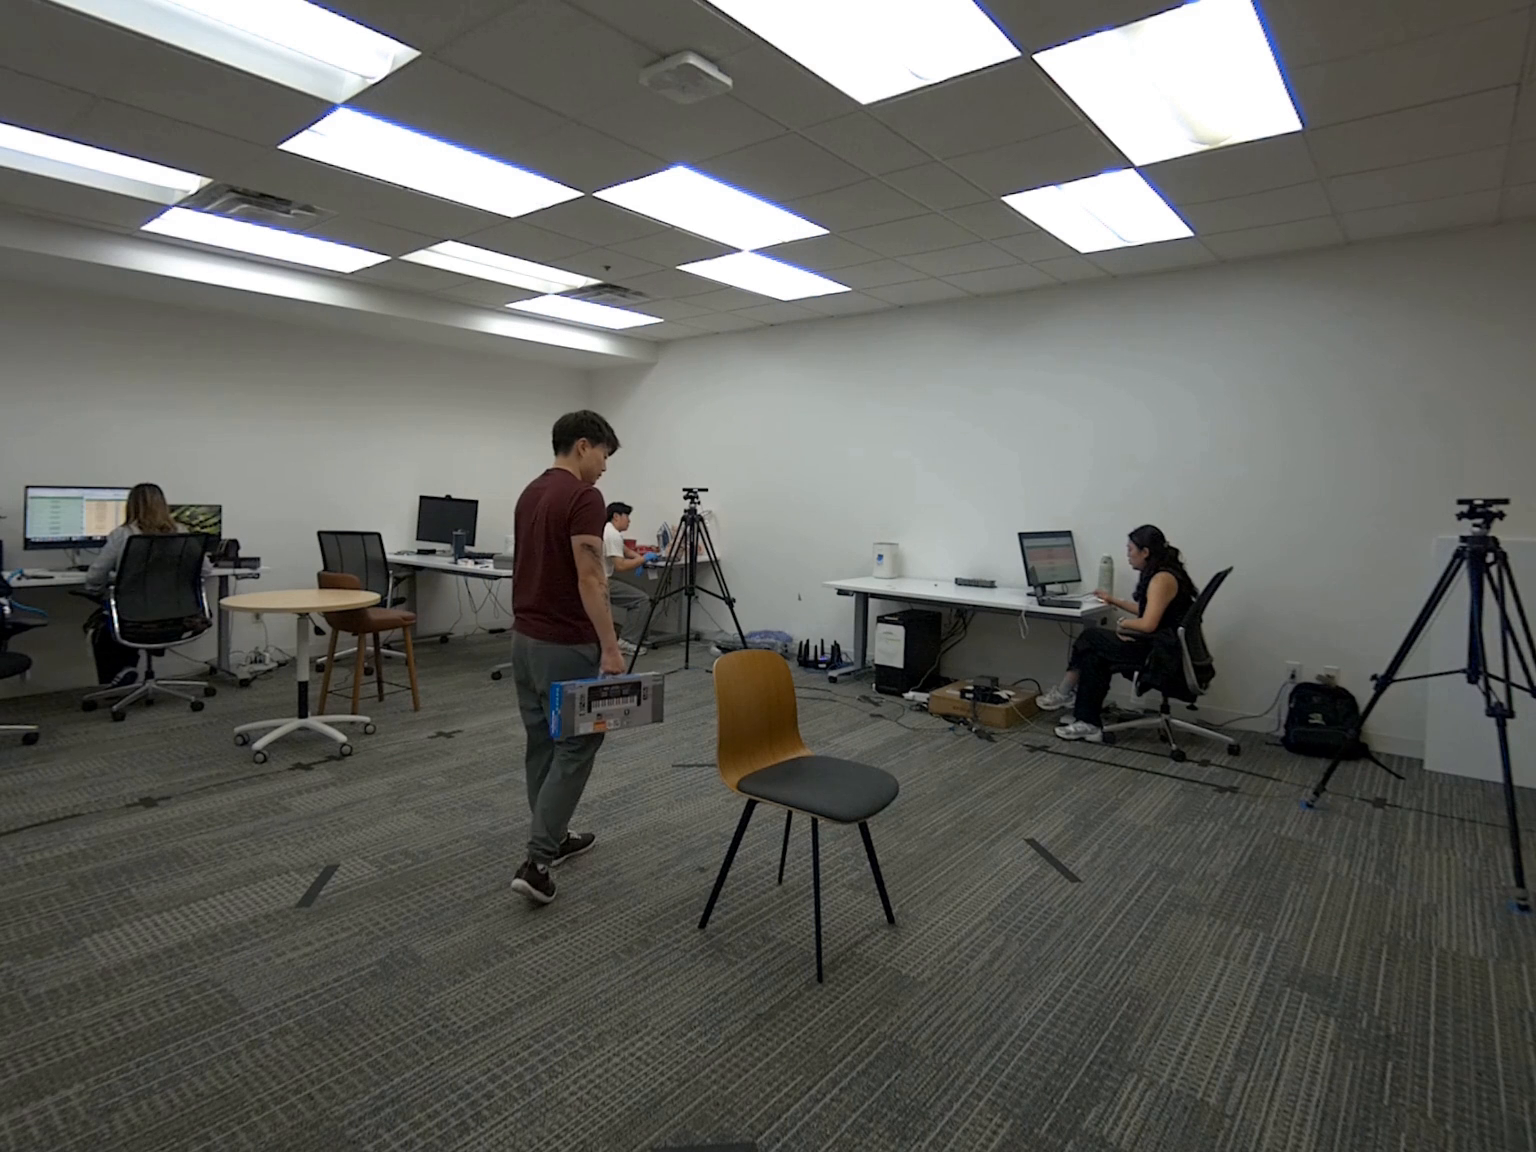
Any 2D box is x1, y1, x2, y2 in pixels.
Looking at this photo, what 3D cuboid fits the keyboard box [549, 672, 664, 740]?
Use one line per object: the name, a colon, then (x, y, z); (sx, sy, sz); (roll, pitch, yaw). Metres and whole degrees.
keyboard box: (-0.547, 0.430, 2.864); (0.061, 0.176, 0.423); (-1, -1, 45)
